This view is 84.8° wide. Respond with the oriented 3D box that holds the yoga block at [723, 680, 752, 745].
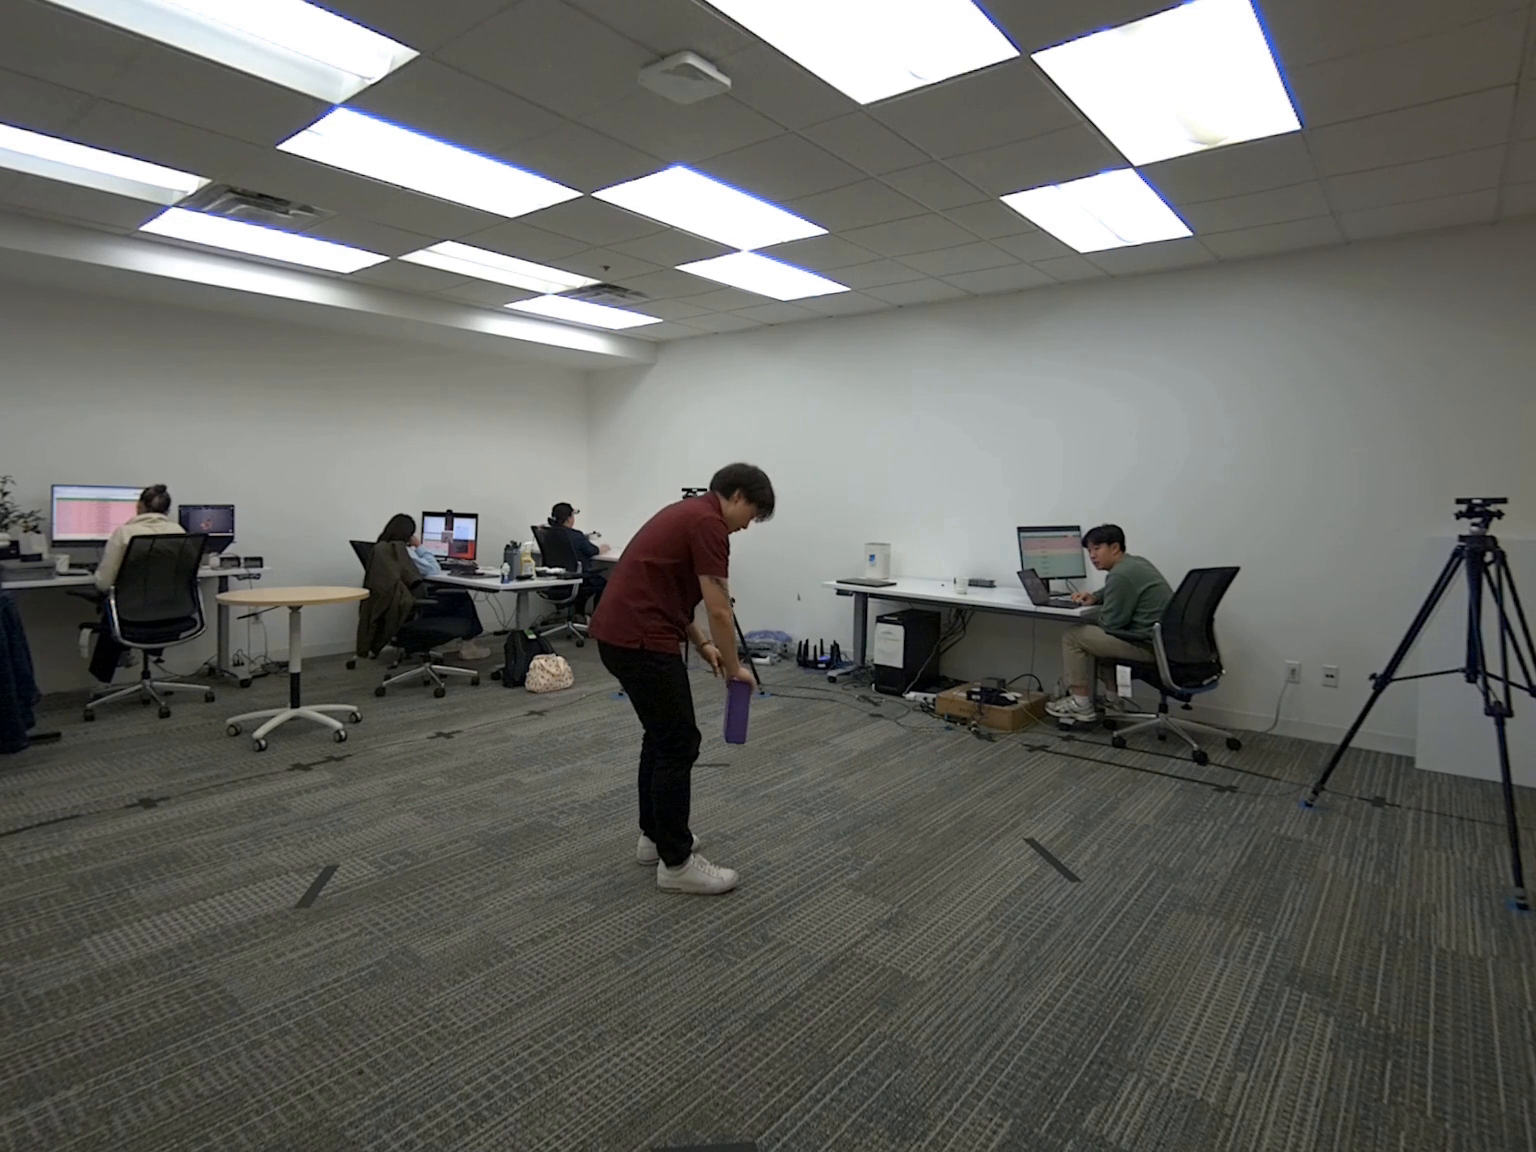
[{"bbox_3d":[-0.134,0.499,3.144,0.076,0.228,0.150,6,4,-4],"label":"yoga block"}]
